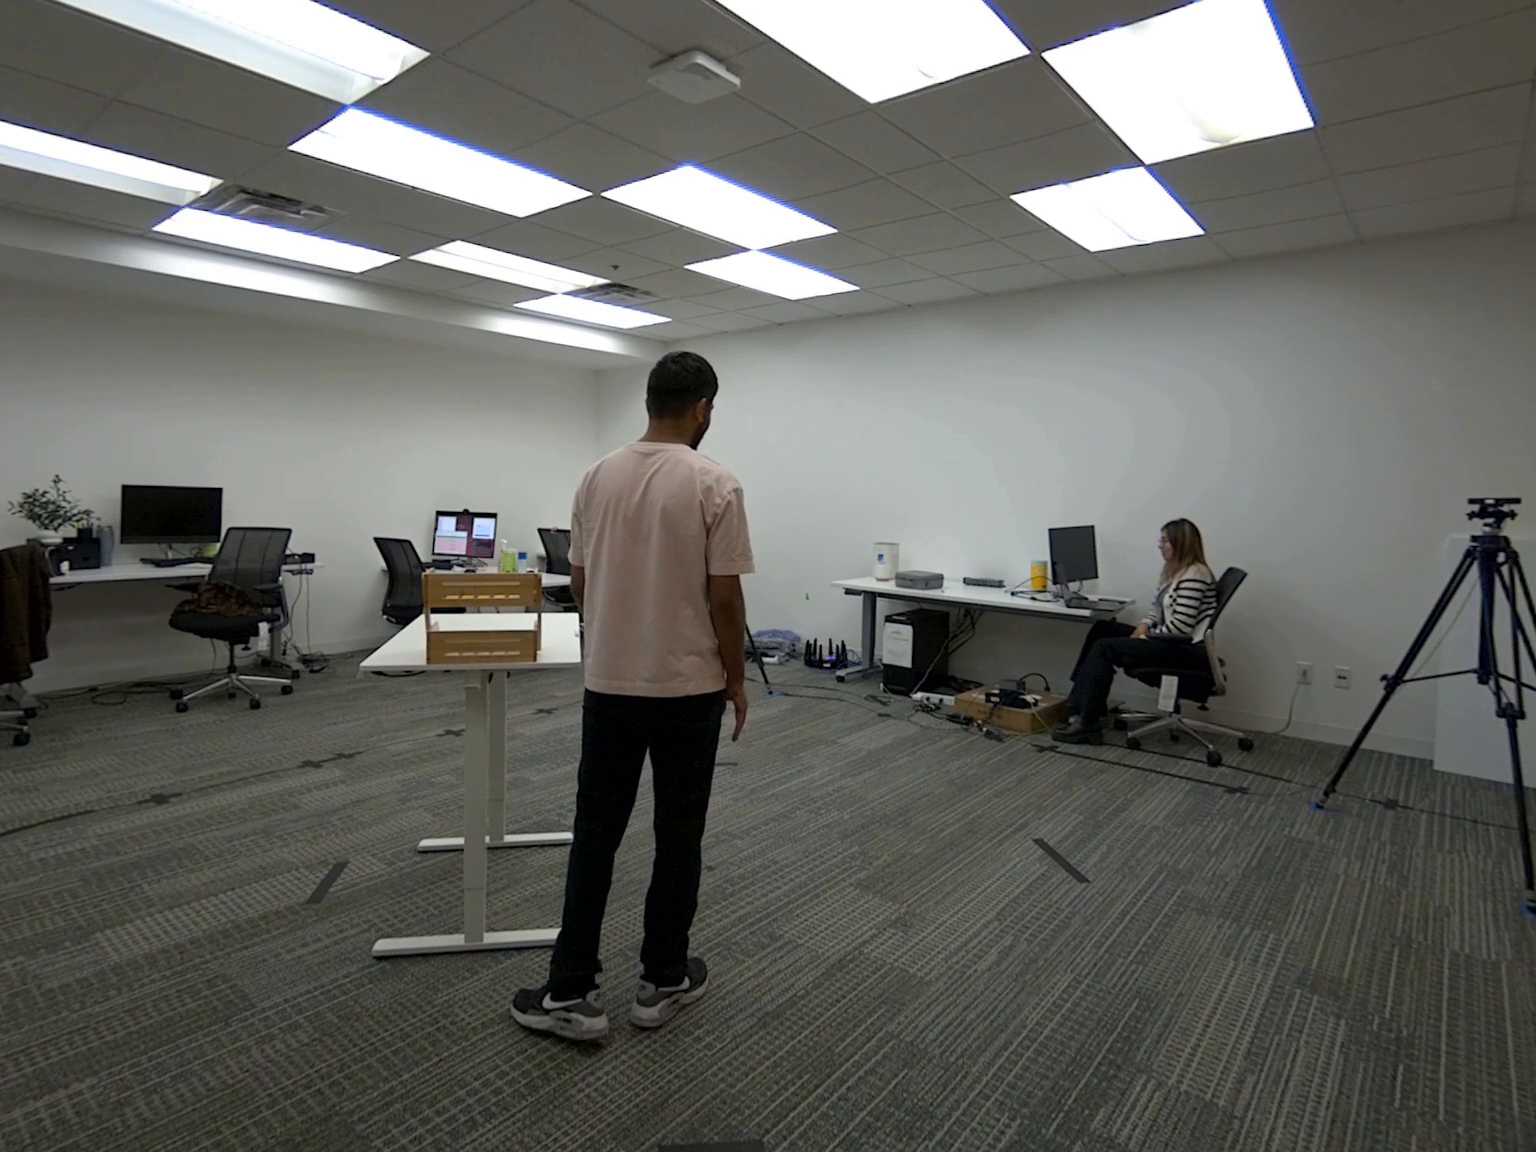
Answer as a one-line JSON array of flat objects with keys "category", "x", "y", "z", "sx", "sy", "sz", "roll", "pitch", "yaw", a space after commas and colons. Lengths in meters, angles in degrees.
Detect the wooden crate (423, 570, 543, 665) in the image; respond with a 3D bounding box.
[{"category": "wooden crate", "x": -0.842, "y": 0.100, "z": 2.483, "sx": 0.320, "sy": 0.272, "sz": 0.308, "roll": -1, "pitch": 7, "yaw": -14}]
